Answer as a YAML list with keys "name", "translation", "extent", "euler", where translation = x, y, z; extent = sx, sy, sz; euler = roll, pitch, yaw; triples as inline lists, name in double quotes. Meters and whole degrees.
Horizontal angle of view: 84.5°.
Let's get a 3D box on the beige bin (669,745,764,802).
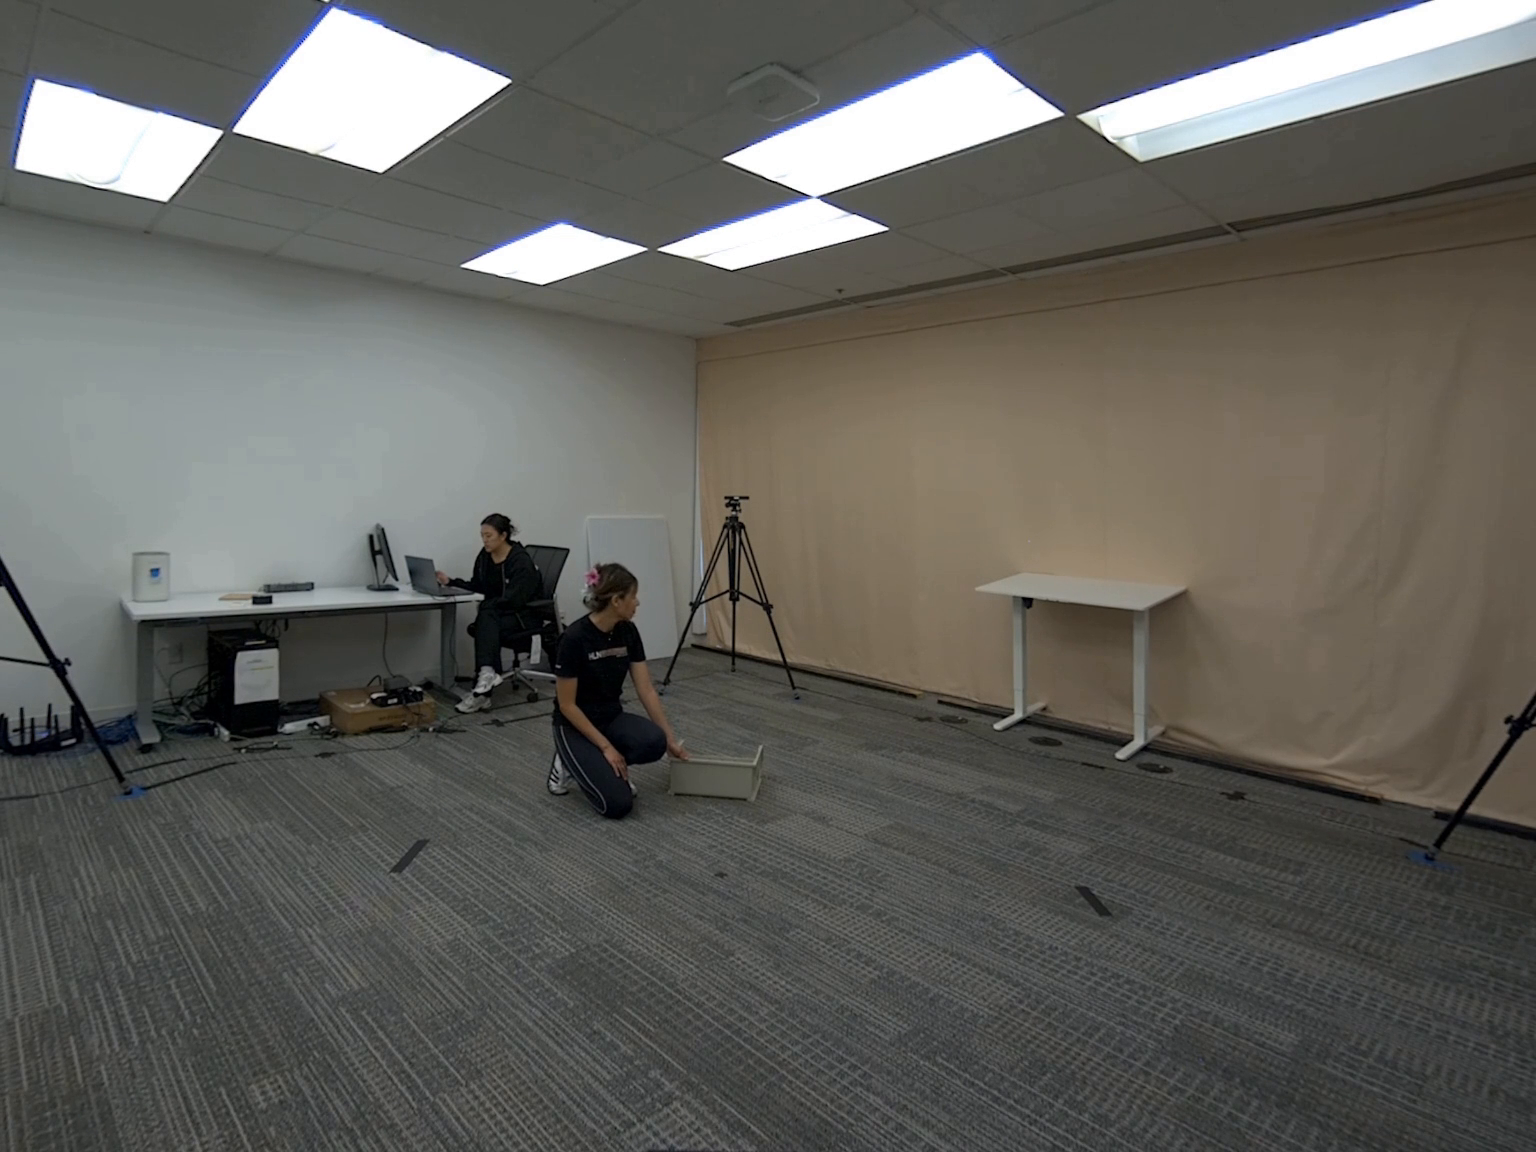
- name: "beige bin"
  translation: [-0.259, 0.929, 4.087]
  extent: [0.425, 0.188, 0.376]
  euler: [2, 6, 6]
